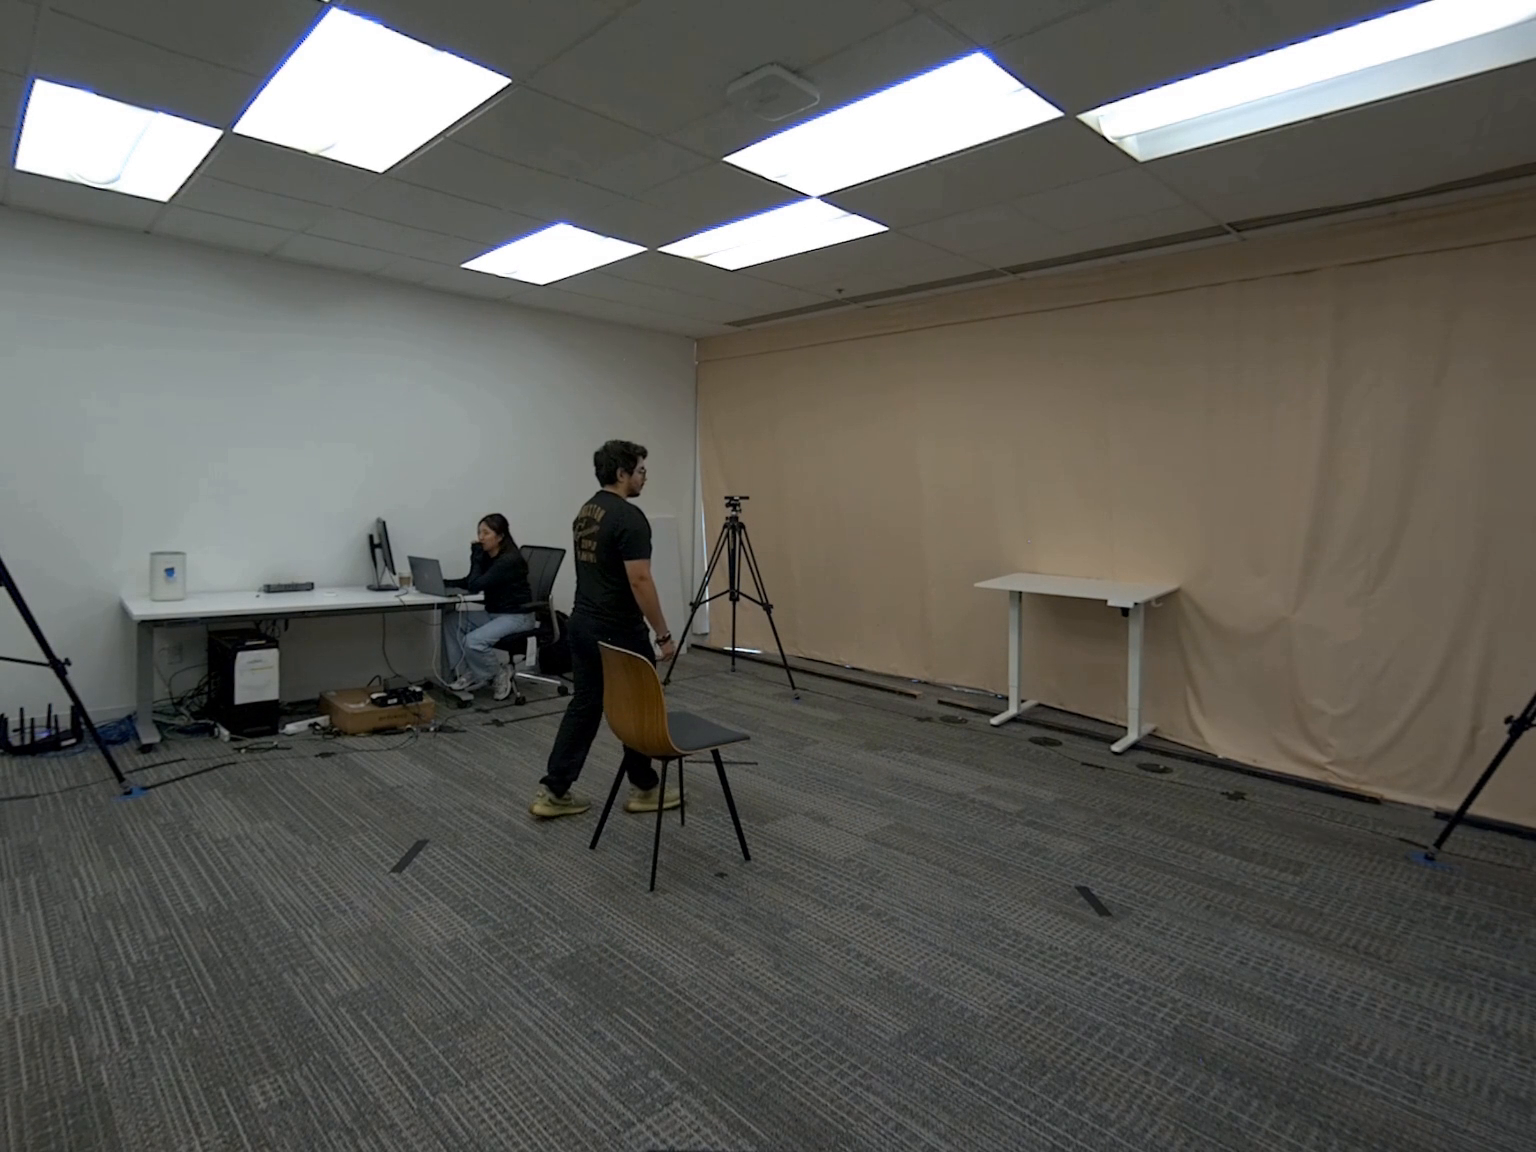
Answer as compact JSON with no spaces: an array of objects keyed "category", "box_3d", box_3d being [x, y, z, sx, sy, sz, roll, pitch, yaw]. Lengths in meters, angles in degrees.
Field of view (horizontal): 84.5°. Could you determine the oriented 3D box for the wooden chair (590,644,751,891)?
[{"category":"wooden chair","box_3d":[-0.372,0.657,3.246,0.512,0.873,0.490,-7,8,-39]}]
